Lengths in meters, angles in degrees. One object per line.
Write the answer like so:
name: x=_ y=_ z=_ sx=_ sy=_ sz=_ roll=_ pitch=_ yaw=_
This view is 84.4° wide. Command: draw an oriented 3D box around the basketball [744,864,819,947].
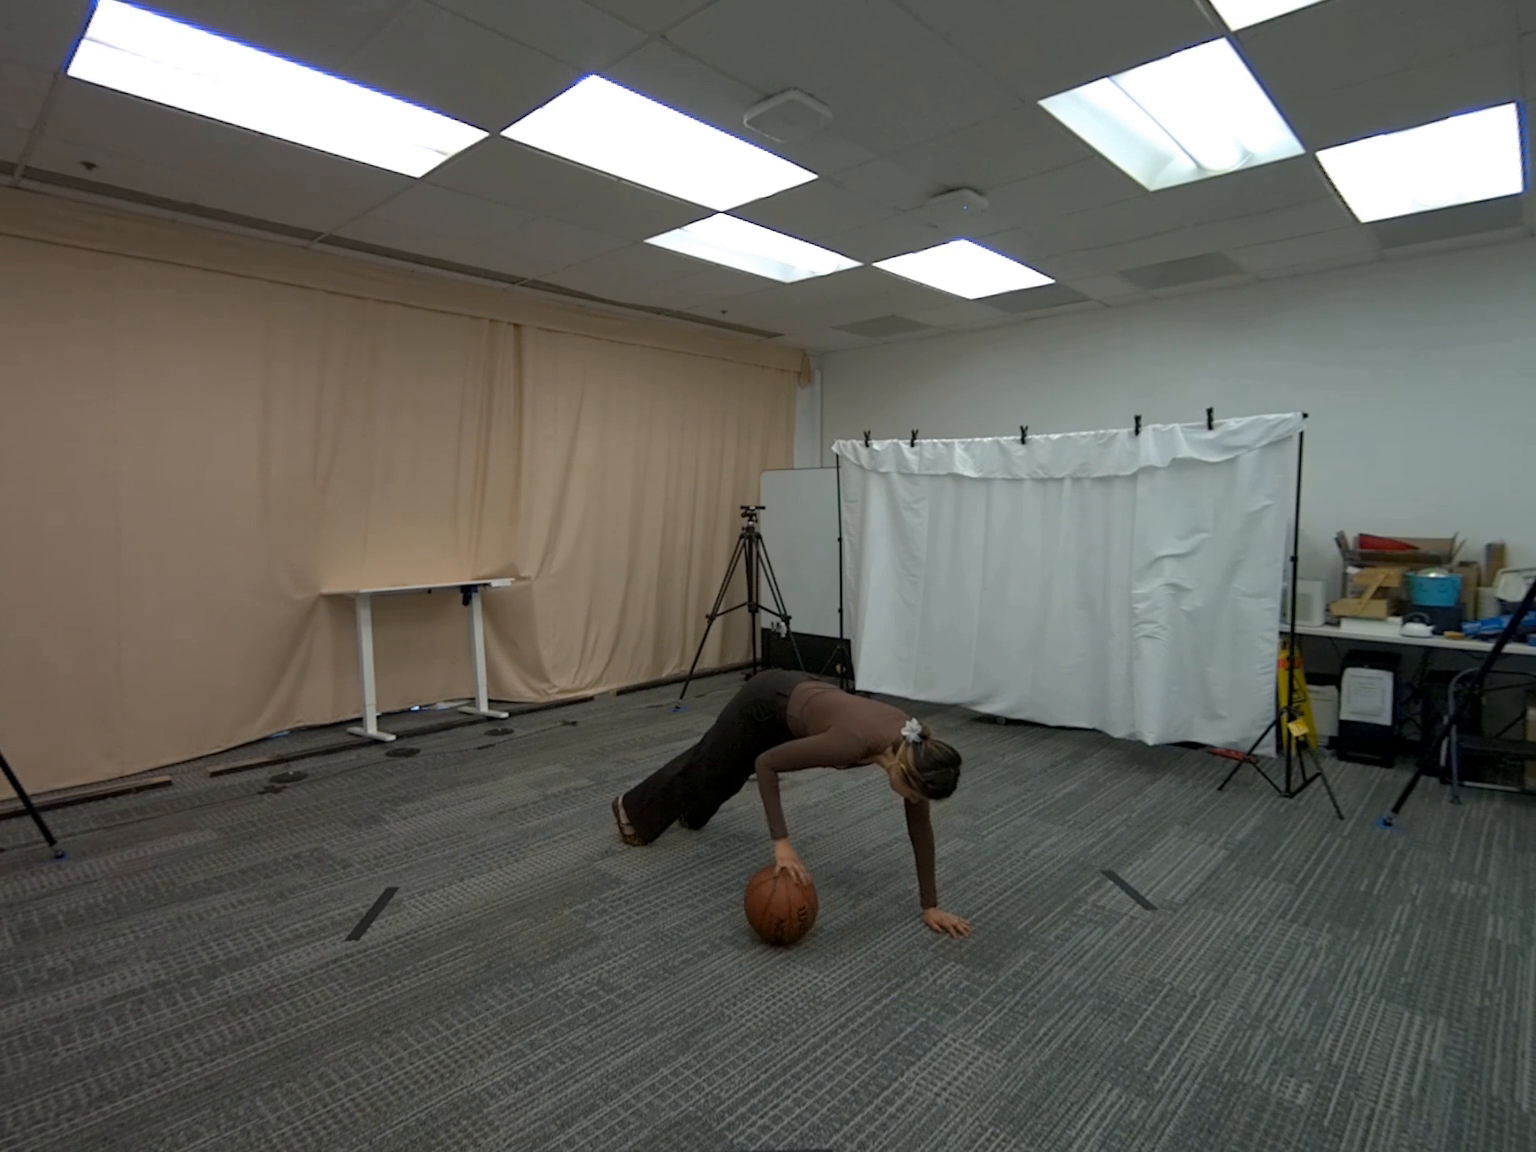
basketball: x=0.038 y=1.046 z=2.697 sx=0.236 sy=0.235 sz=0.237 roll=0 pitch=4 yaw=-2
